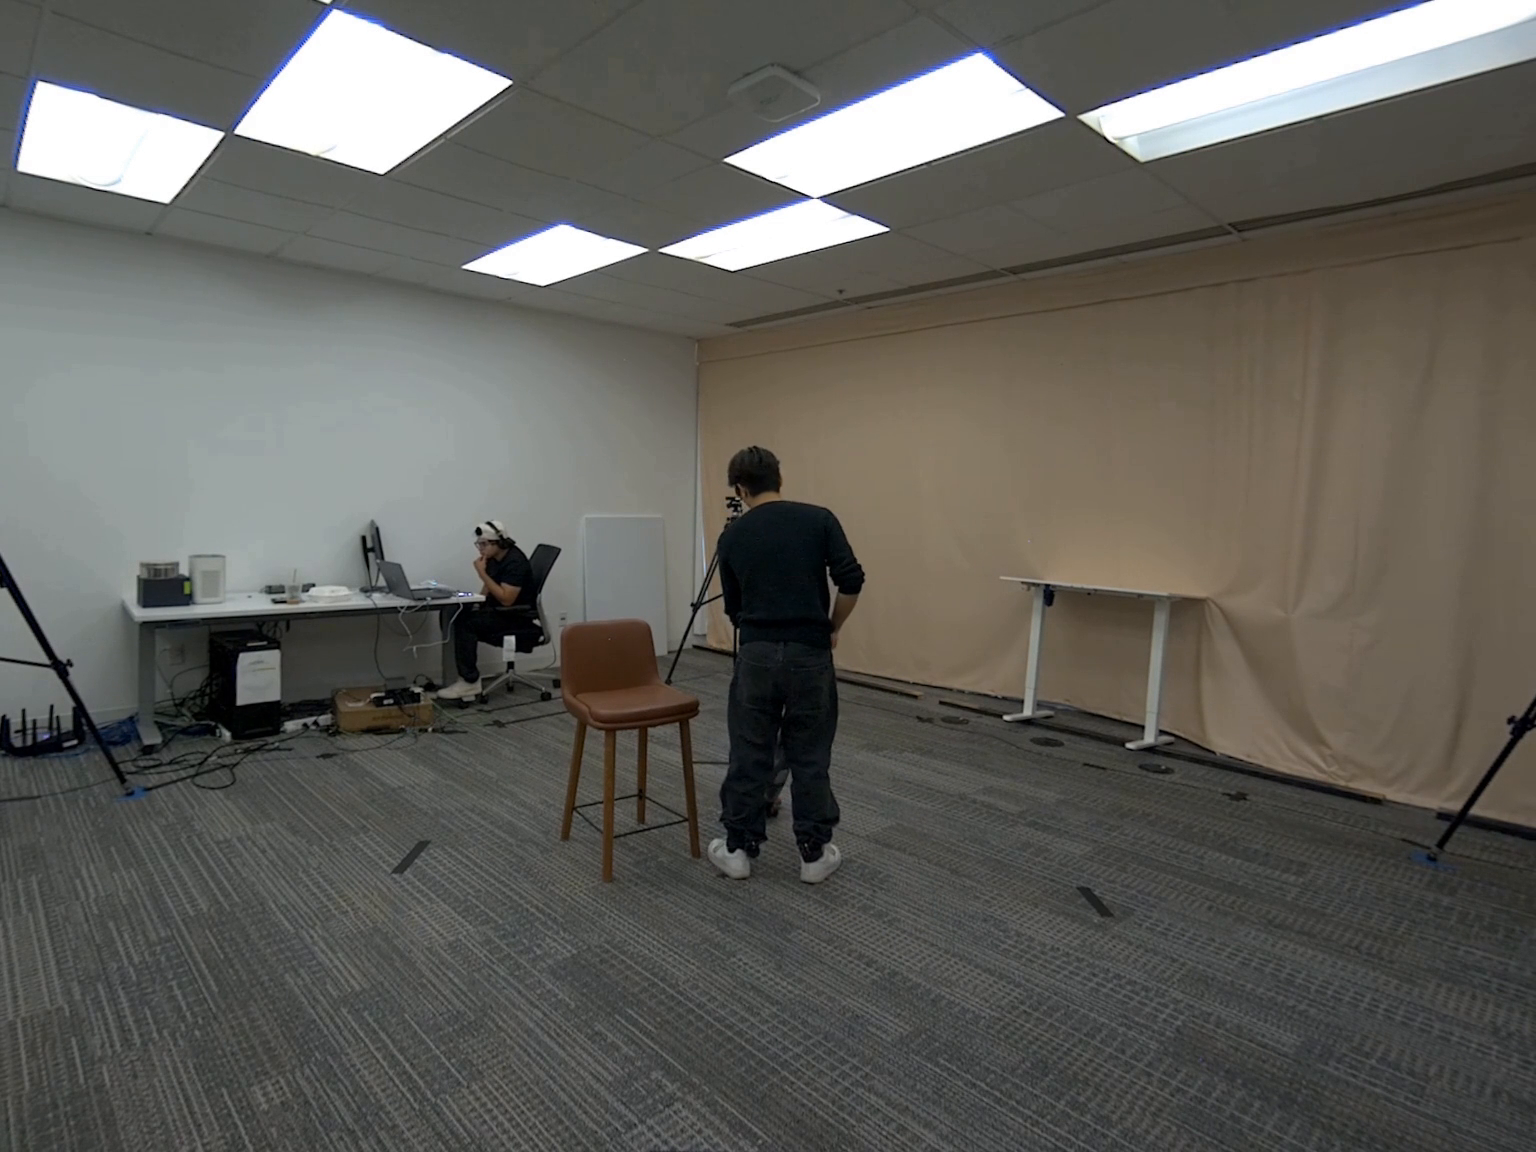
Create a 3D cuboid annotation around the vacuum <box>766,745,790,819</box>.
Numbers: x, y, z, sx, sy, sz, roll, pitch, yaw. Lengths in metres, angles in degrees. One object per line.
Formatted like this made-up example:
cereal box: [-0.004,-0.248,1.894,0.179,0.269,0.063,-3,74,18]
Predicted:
vacuum: [0.084,0.655,3.453,0.248,1.036,0.148,2,39,-24]
